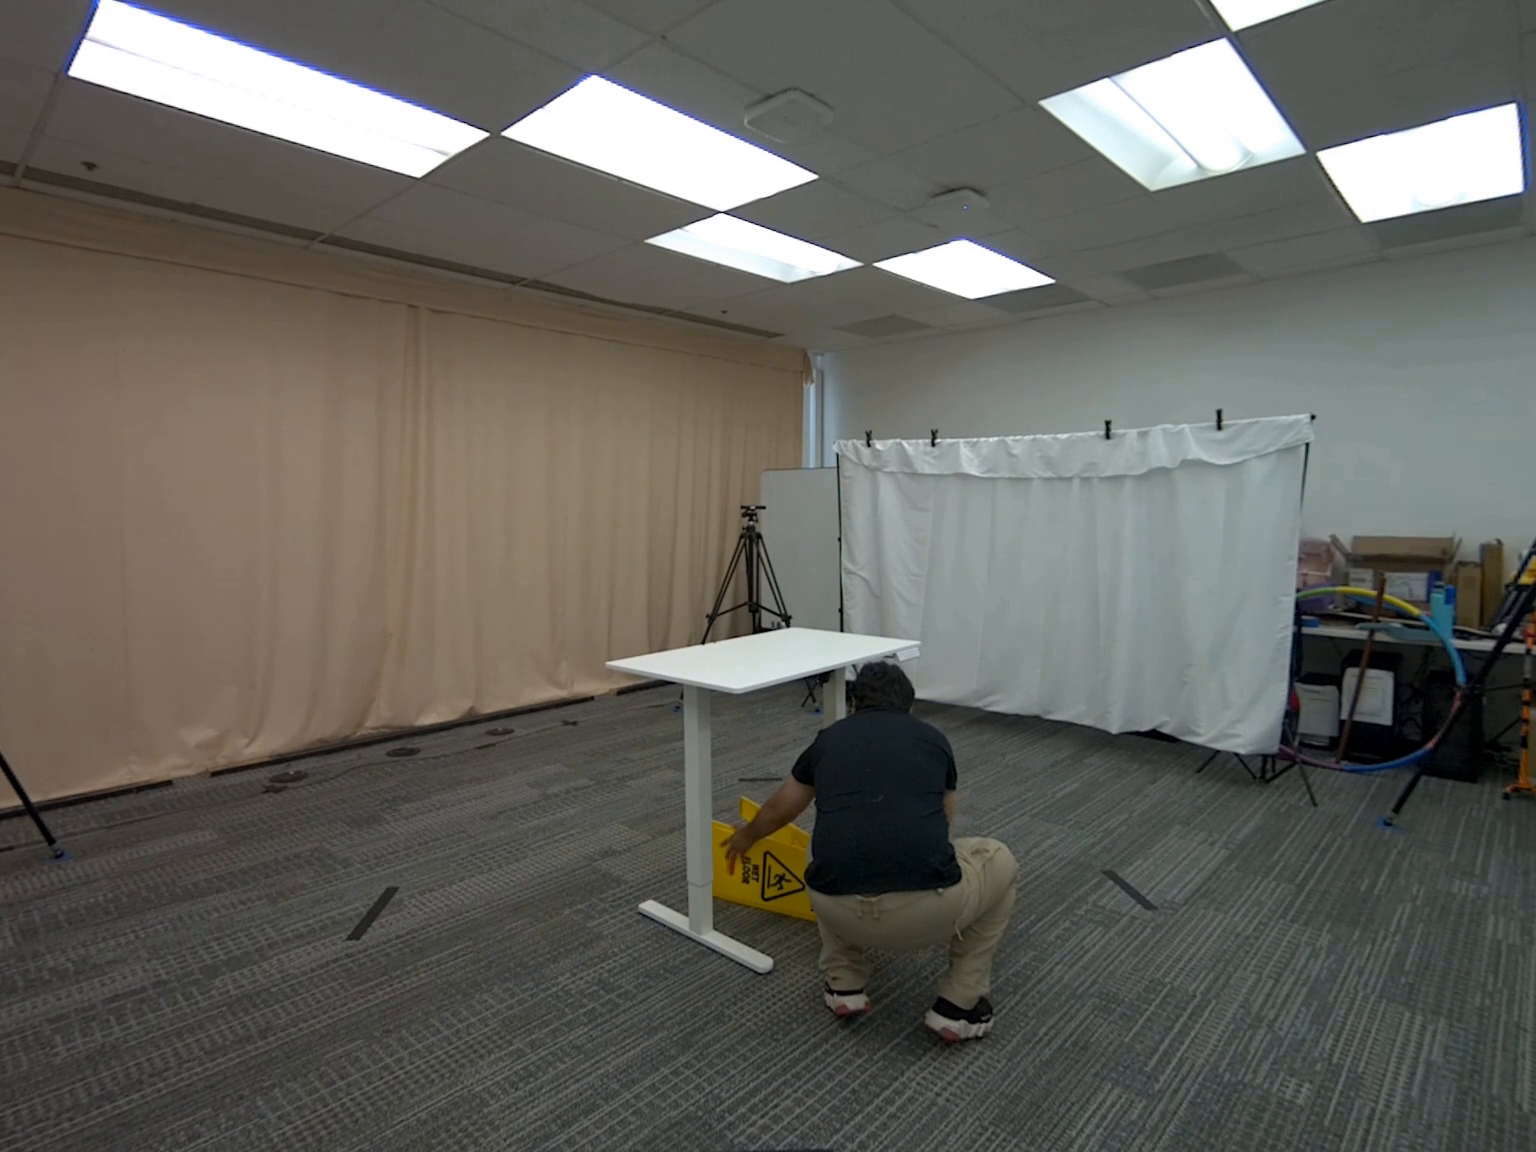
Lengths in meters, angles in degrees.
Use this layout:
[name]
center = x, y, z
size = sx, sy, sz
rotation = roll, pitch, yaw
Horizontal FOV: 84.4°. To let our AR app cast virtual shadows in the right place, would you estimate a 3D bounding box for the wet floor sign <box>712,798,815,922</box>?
[wet floor sign]
center = 0.074, 1.023, 2.931
size = 0.668, 0.281, 0.281
rotation = 7, 8, 38
